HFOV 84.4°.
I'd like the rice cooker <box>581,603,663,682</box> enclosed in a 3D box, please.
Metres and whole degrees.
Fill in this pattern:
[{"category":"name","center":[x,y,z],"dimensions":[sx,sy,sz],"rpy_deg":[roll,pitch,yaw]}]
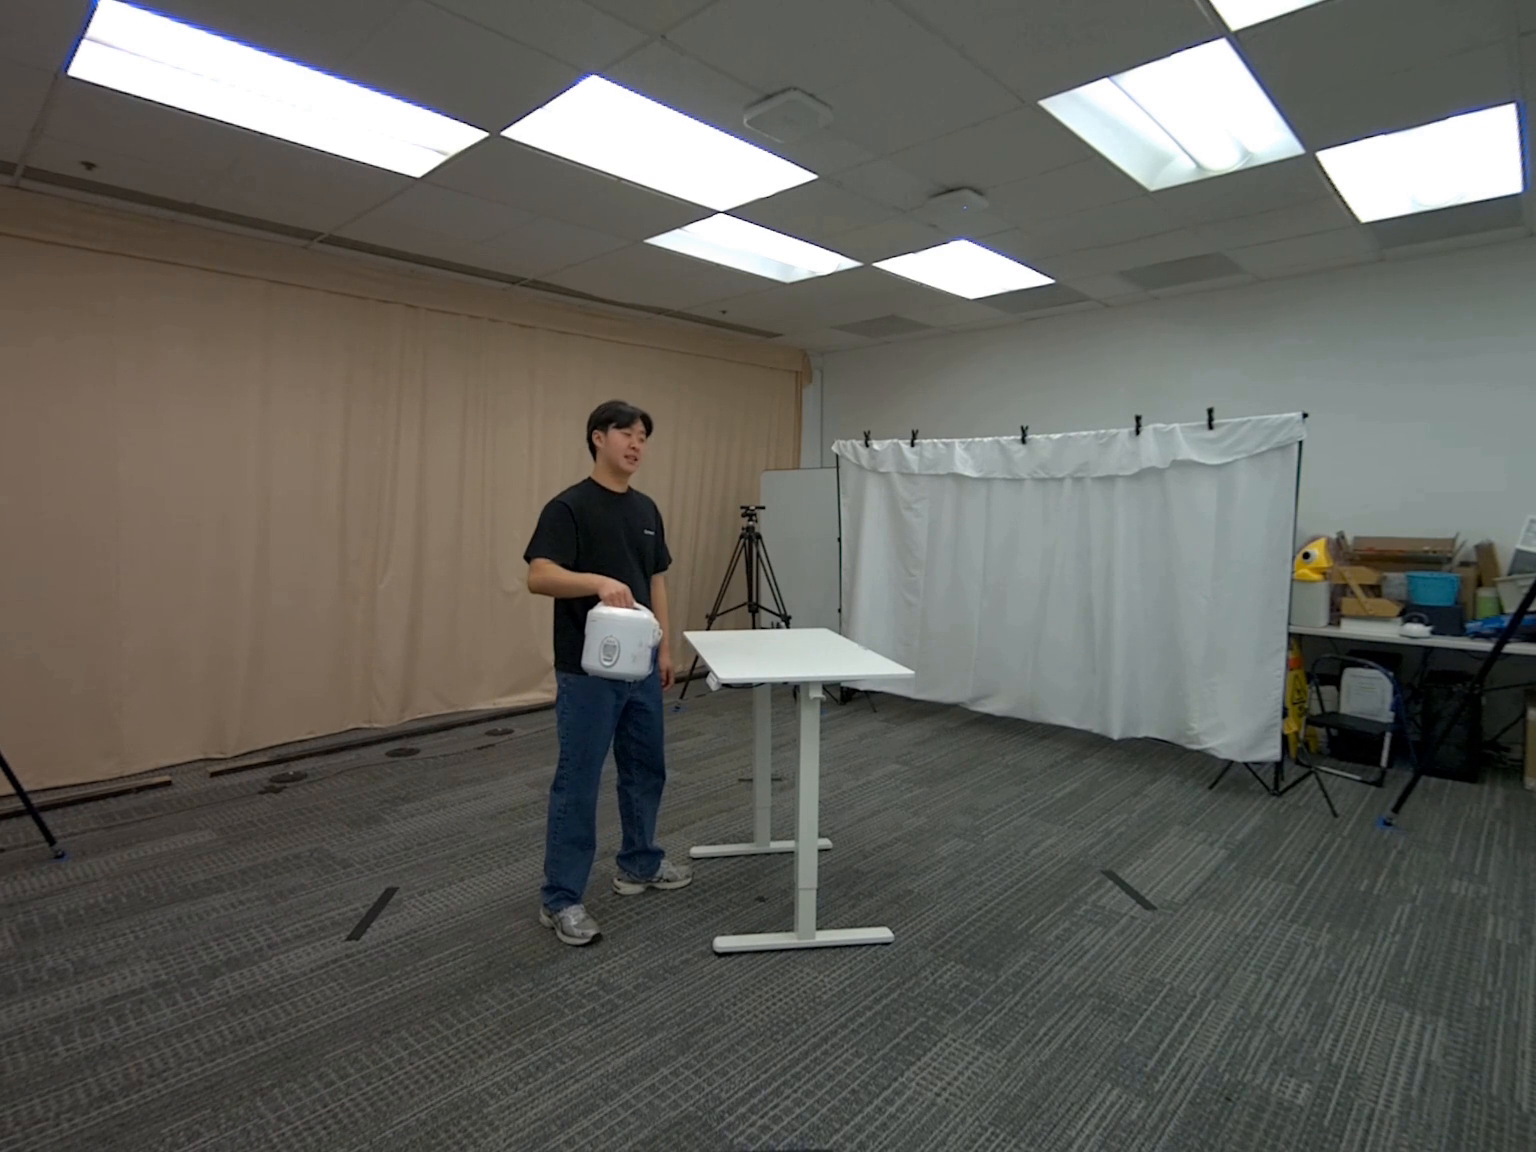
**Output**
[{"category":"rice cooker","center":[-0.430,0.187,2.532],"dimensions":[0.222,0.233,0.215],"rpy_deg":[7,-7,5]}]
